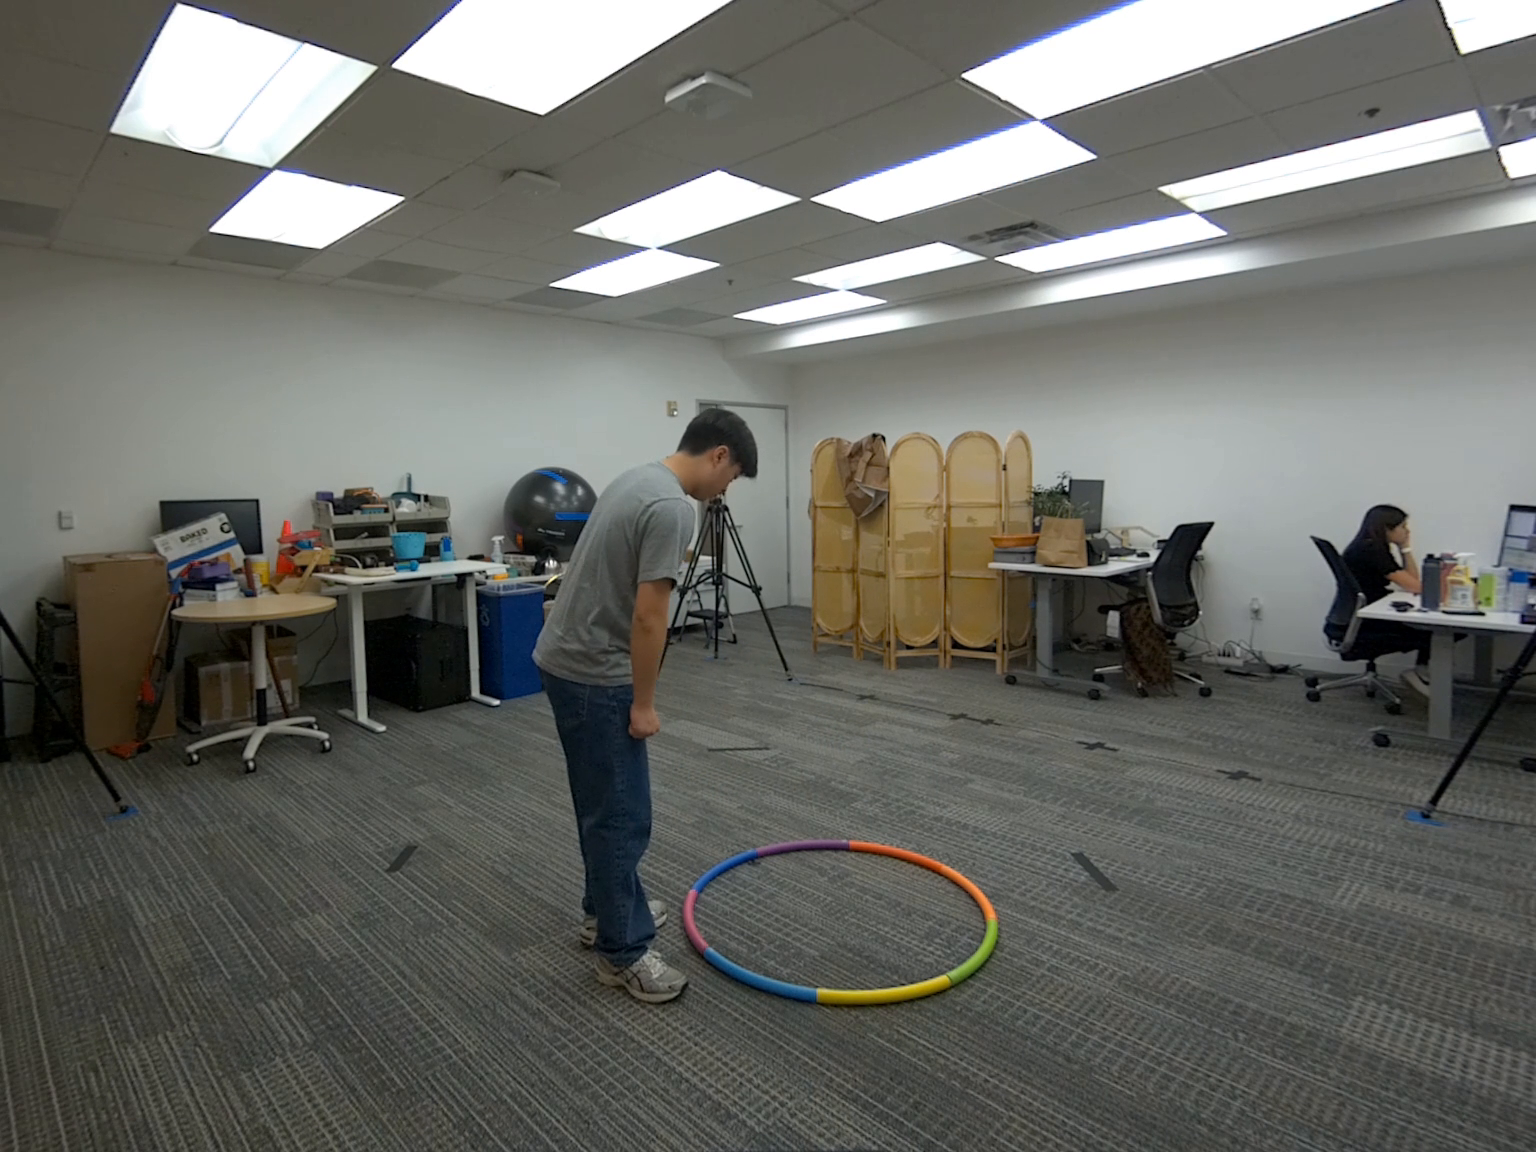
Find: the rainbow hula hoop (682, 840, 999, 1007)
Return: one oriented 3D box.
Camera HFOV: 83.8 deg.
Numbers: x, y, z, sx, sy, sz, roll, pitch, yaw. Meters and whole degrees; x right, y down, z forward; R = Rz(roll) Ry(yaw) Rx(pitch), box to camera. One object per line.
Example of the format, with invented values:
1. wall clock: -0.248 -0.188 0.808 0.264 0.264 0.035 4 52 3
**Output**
1. rainbow hula hoop: 0.218 1.055 2.742 0.978 0.035 0.984 -1 7 -2
